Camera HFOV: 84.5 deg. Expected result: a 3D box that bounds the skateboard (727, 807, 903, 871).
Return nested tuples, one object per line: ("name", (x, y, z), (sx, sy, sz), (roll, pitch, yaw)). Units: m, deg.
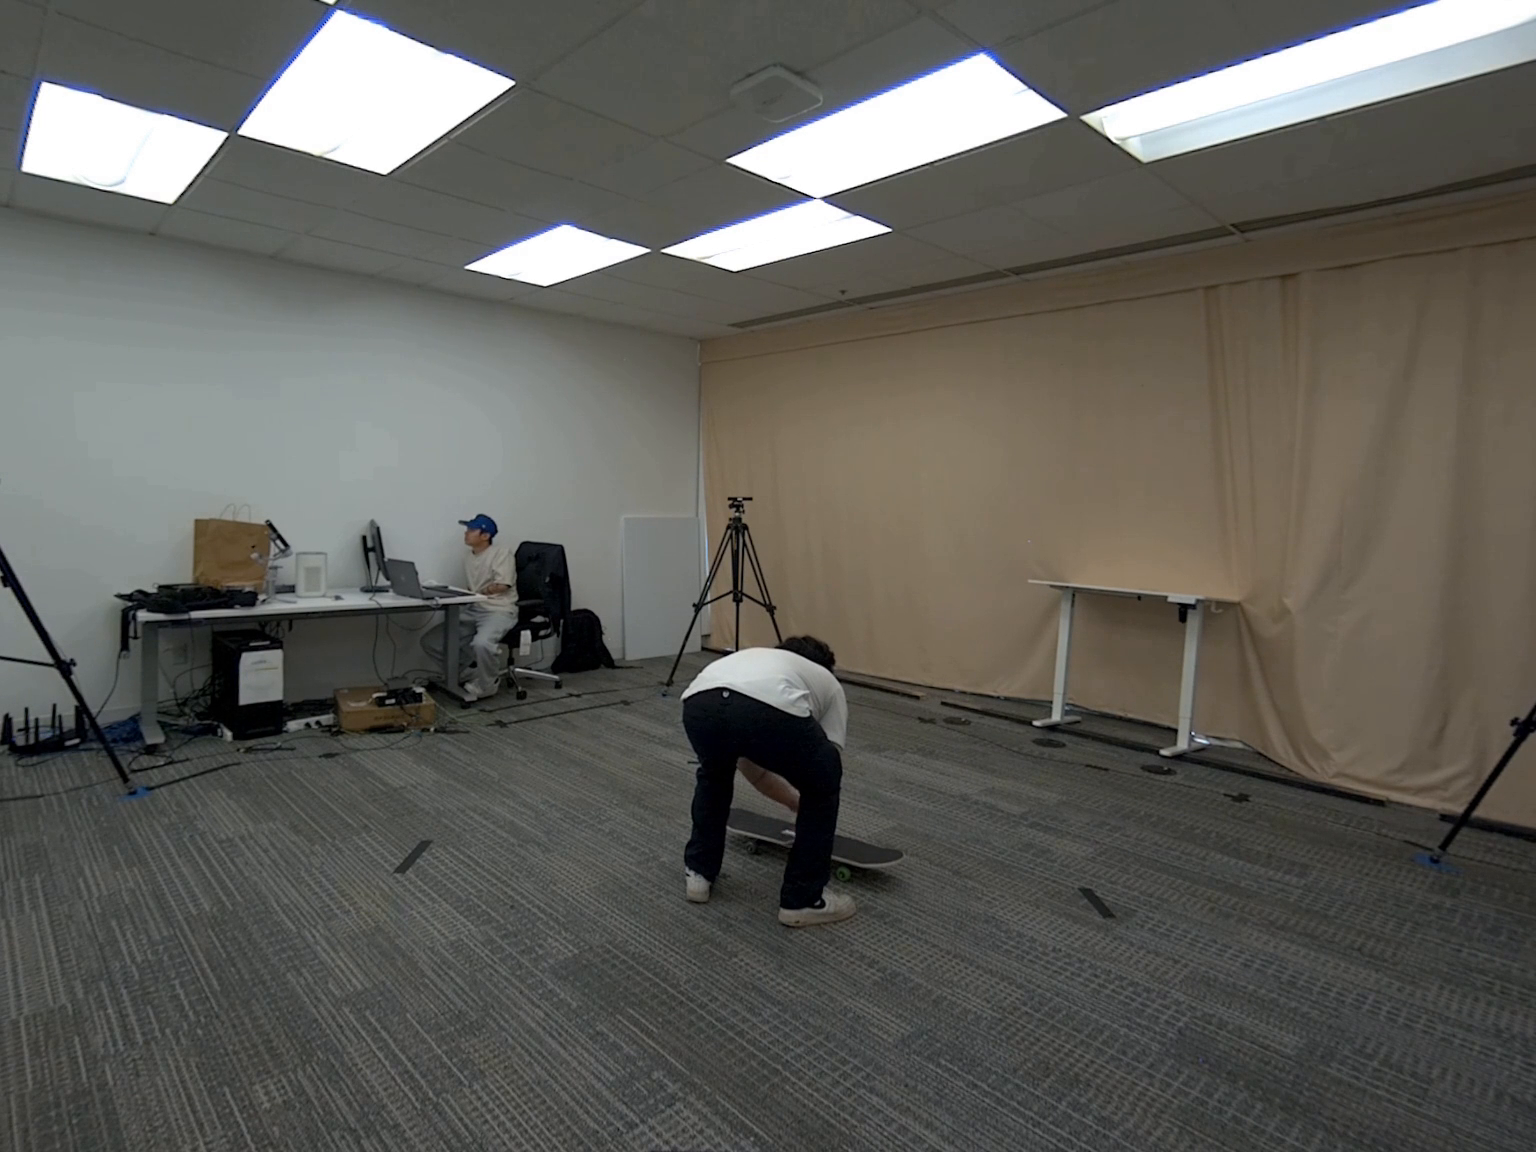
("skateboard", (0.138, 1.042, 3.258), (0.804, 0.110, 0.189), (5, 5, 33))
